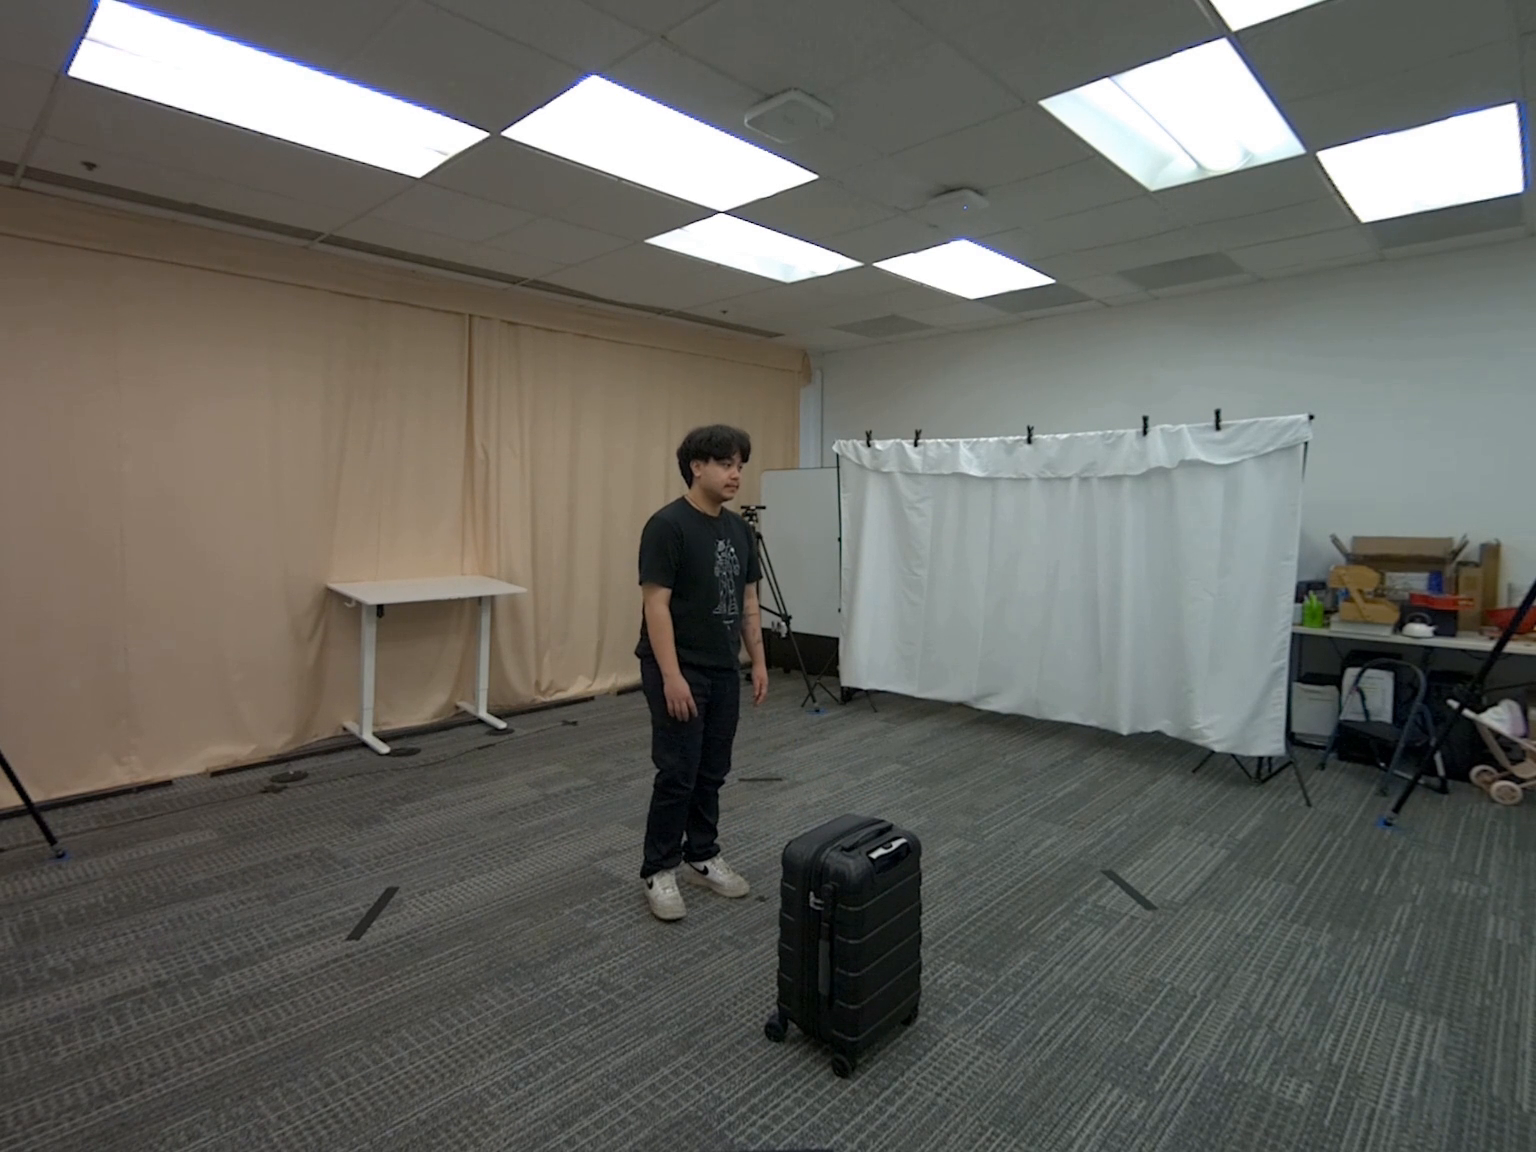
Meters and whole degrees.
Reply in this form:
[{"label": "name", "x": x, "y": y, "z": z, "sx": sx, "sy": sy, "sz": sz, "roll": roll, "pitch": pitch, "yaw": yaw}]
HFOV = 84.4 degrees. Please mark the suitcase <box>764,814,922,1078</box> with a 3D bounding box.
[{"label": "suitcase", "x": 0.220, "y": 0.932, "z": 2.210, "sx": 0.257, "sy": 0.548, "sz": 0.364, "roll": 5, "pitch": 5, "yaw": 42}]
